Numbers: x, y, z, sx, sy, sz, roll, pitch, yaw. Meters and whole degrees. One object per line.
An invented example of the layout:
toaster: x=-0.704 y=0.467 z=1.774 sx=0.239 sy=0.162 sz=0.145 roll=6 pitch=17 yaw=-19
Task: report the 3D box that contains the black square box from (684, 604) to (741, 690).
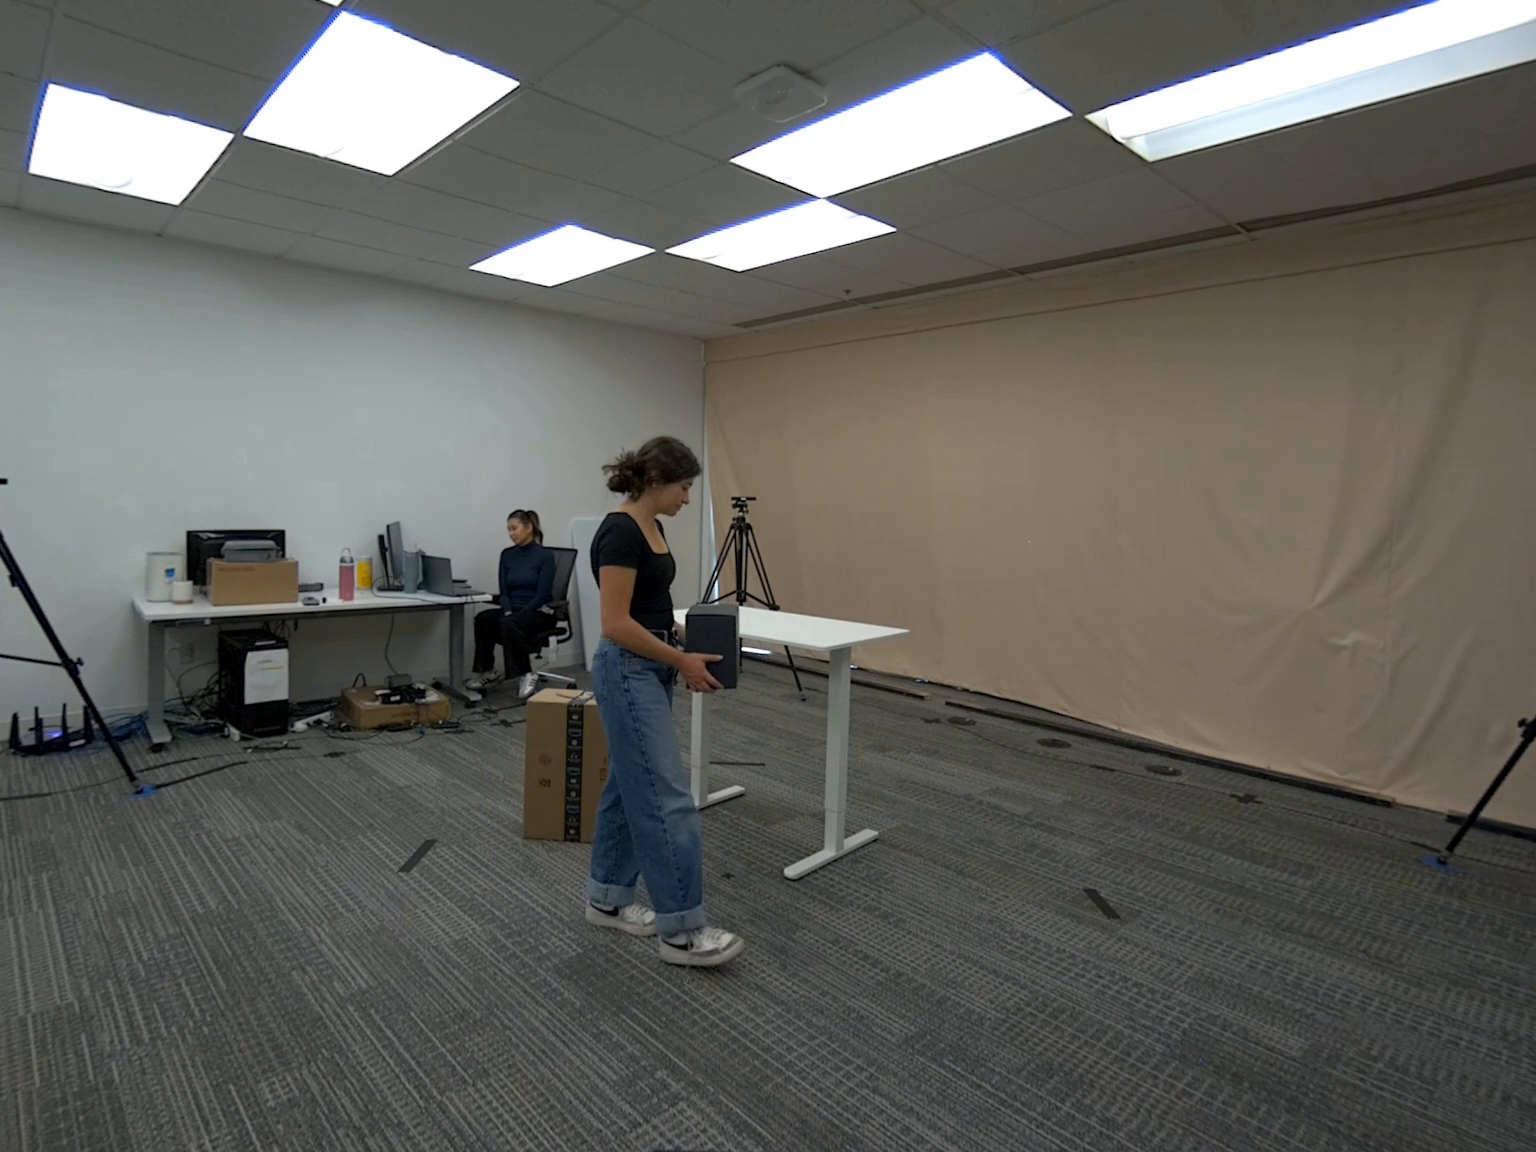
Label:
black square box: x=-0.177 y=0.212 z=2.643 sx=0.156 sy=0.227 sz=0.217 roll=1 pitch=5 yaw=3
